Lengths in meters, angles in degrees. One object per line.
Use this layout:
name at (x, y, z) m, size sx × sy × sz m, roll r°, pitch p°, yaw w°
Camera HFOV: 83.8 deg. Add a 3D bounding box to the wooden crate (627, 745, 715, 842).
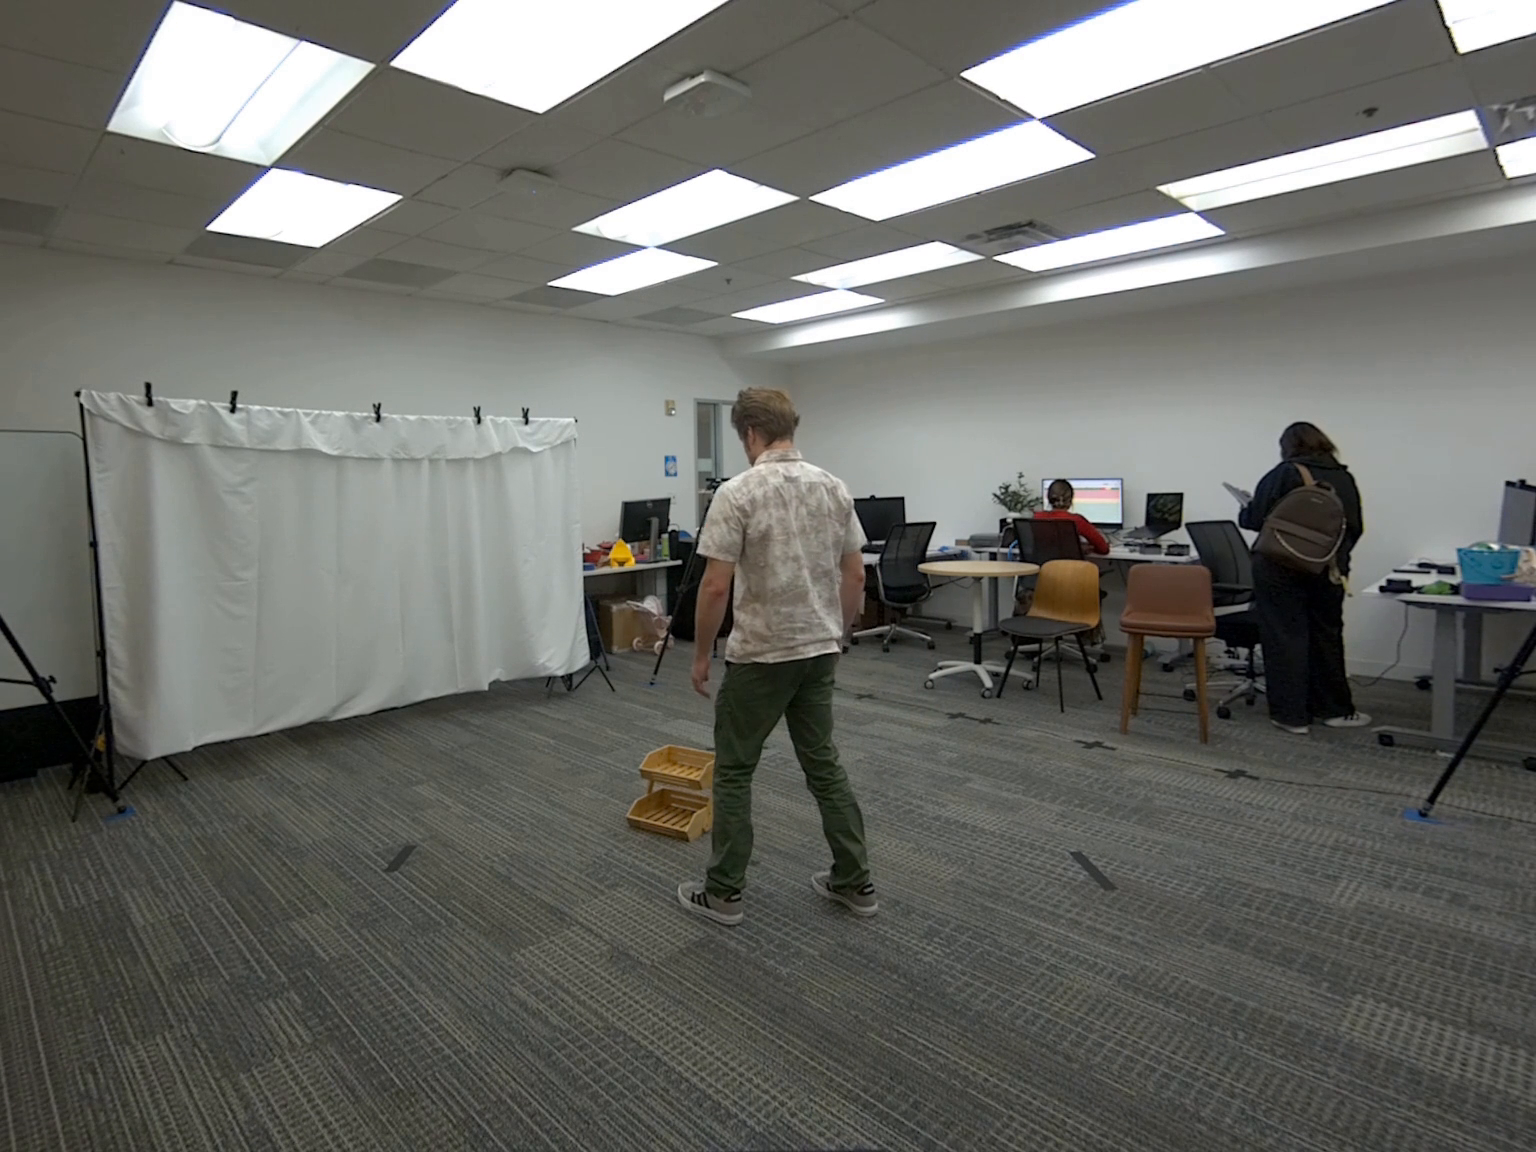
wooden crate at (-0.370, 0.871, 3.478) m, size 0.333 × 0.272 × 0.295 m, roll 2°, pitch 4°, yaw 31°
